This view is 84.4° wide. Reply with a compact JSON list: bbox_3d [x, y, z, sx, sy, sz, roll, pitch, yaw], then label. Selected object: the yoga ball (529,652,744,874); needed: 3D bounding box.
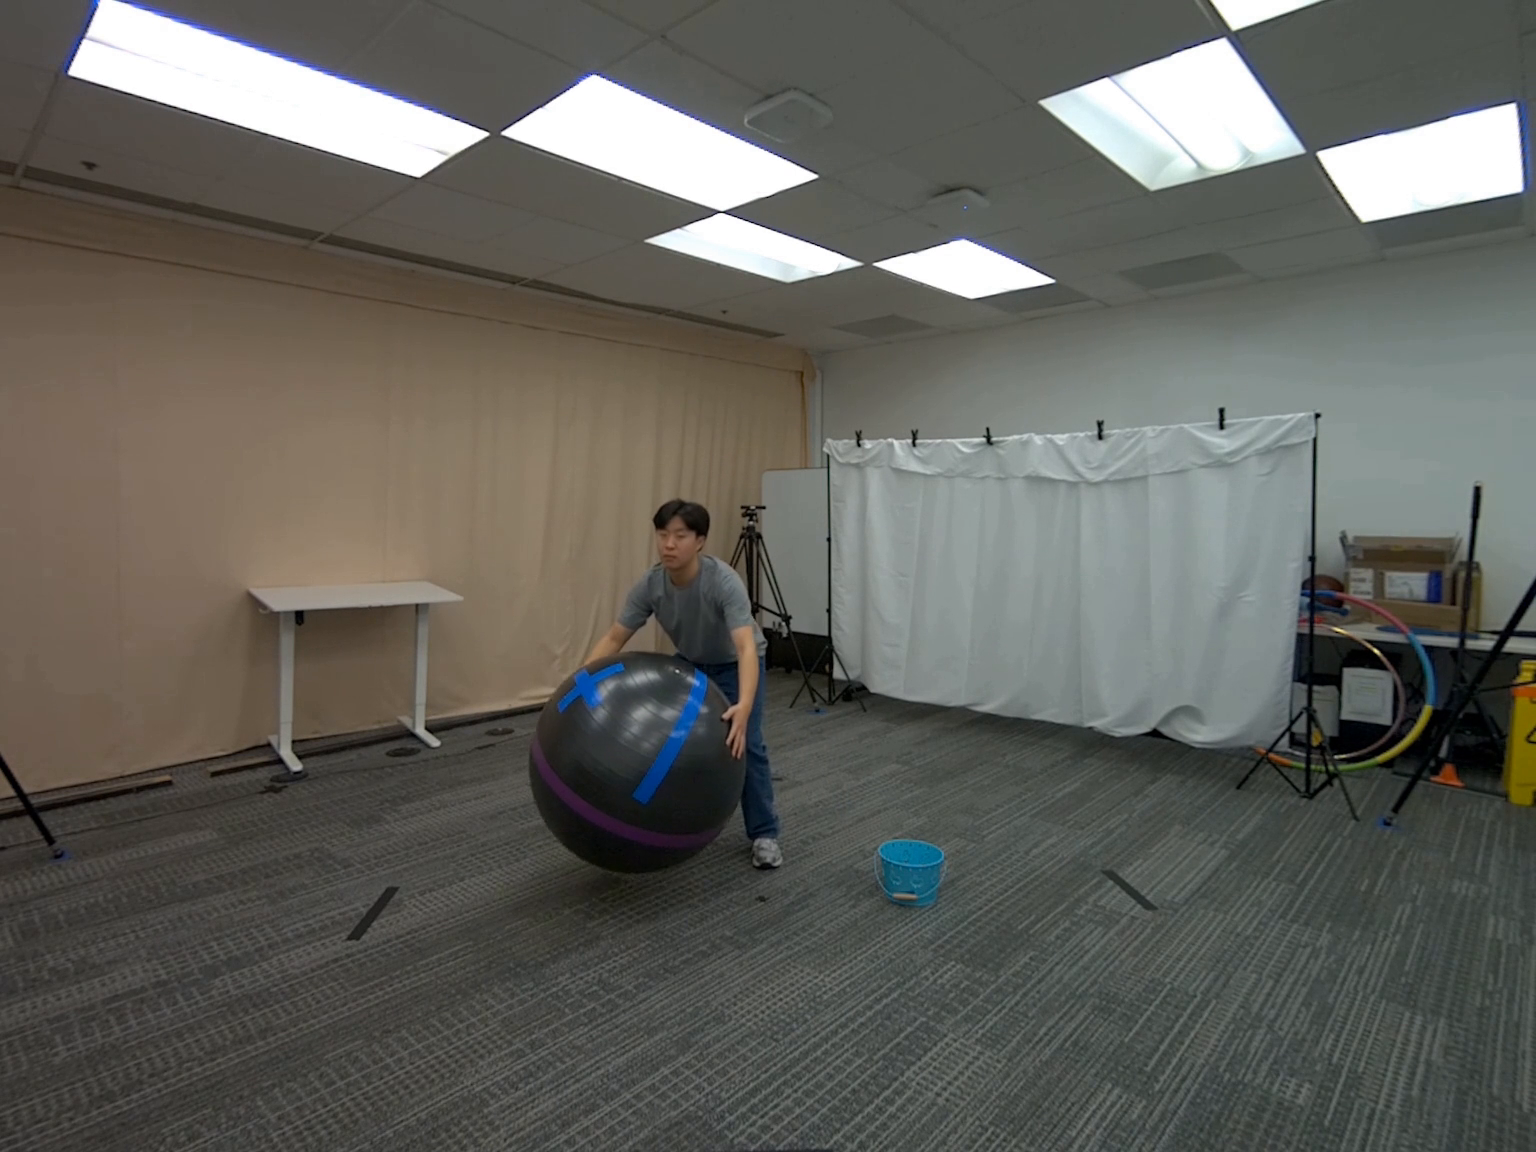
[{"bbox_3d":[-0.465,0.645,2.970,0.757,0.756,0.760,0,4,-2],"label":"yoga ball"}]
